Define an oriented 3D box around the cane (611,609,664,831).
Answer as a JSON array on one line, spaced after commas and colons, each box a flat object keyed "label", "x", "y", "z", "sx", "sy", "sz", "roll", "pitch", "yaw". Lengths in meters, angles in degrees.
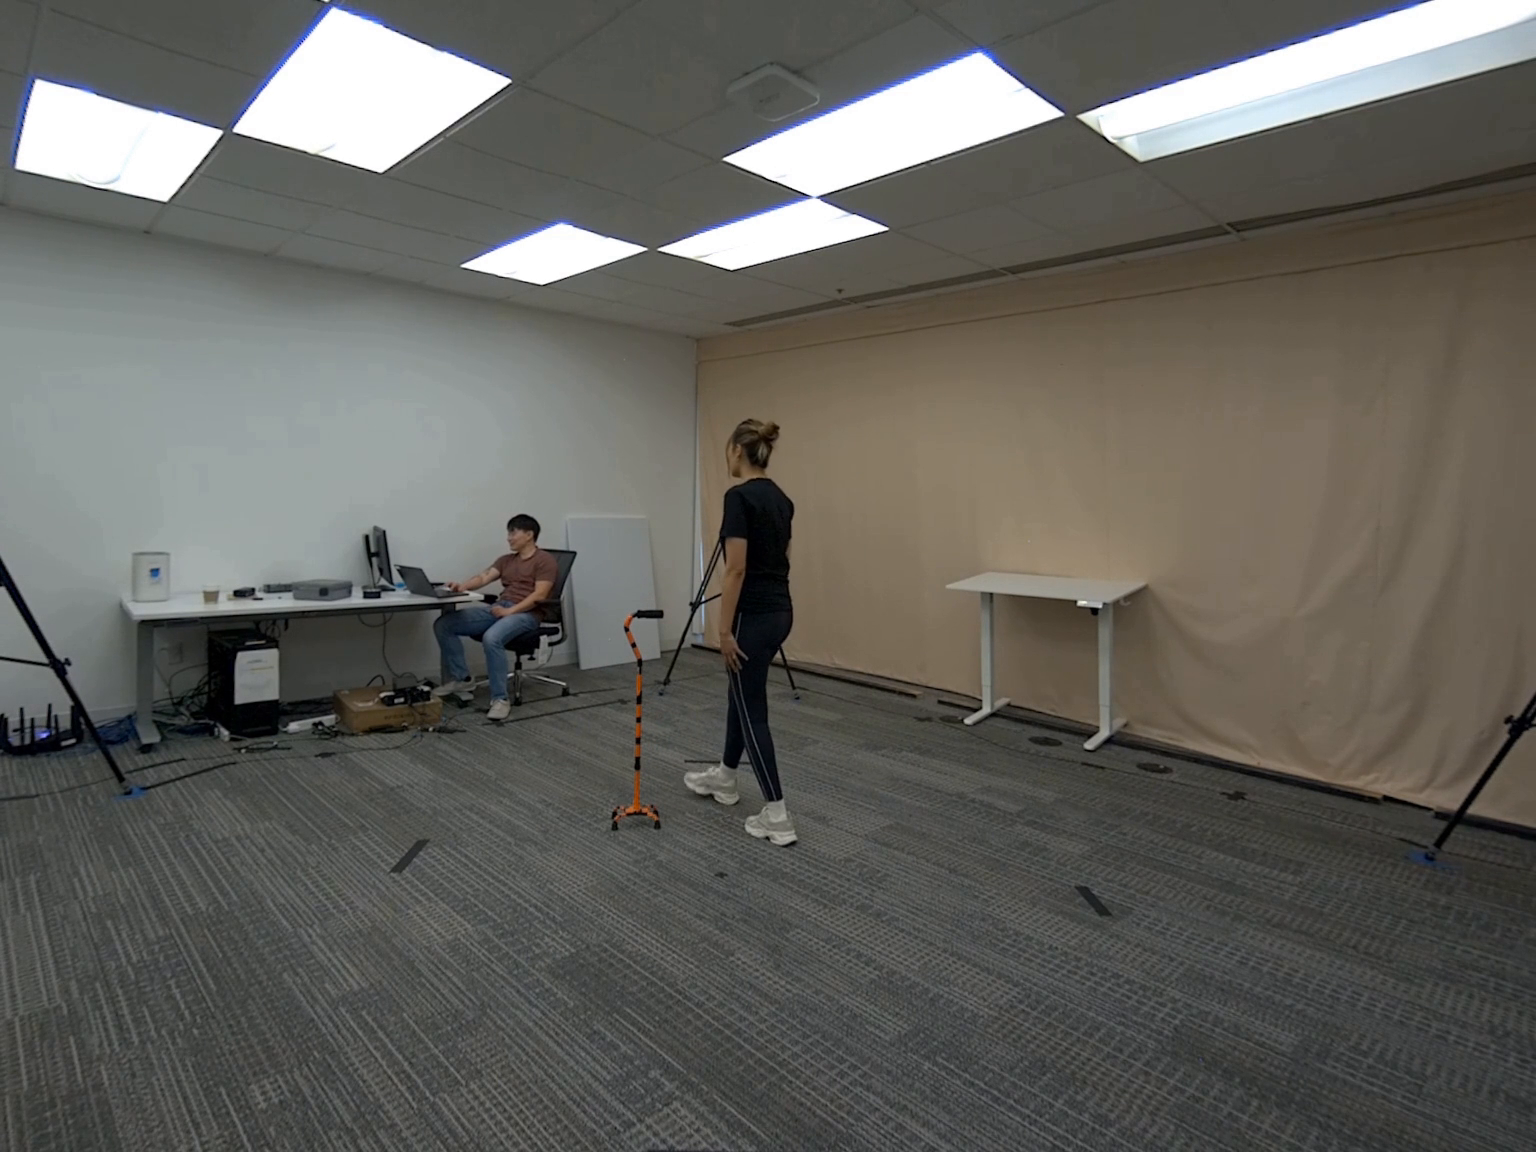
[{"label": "cane", "x": -0.559, "y": 0.595, "z": 3.557, "sx": 0.205, "sy": 0.906, "sz": 0.153, "roll": 1, "pitch": 3, "yaw": -11}]
